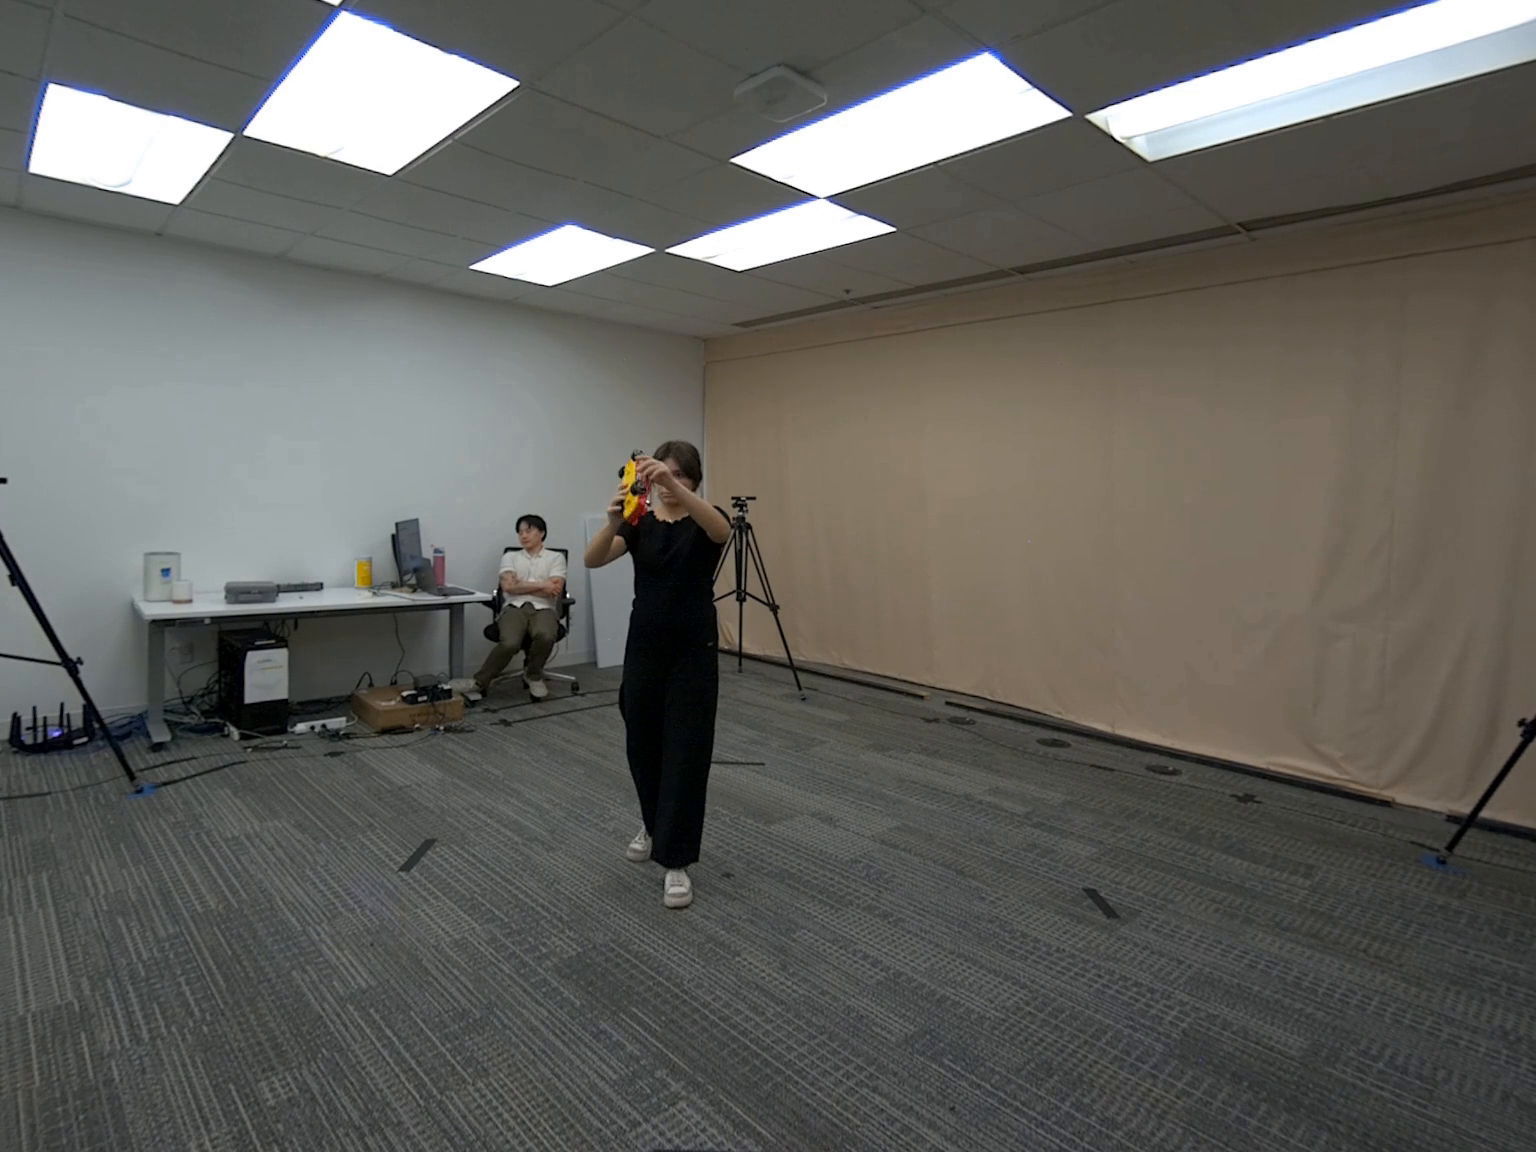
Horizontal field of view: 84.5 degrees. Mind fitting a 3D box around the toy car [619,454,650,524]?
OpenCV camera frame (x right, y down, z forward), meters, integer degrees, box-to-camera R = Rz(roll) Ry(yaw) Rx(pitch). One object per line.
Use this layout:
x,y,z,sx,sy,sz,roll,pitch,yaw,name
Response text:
-0.425,-0.276,2.623,0.081,0.261,0.130,11,-41,-35,toy car
